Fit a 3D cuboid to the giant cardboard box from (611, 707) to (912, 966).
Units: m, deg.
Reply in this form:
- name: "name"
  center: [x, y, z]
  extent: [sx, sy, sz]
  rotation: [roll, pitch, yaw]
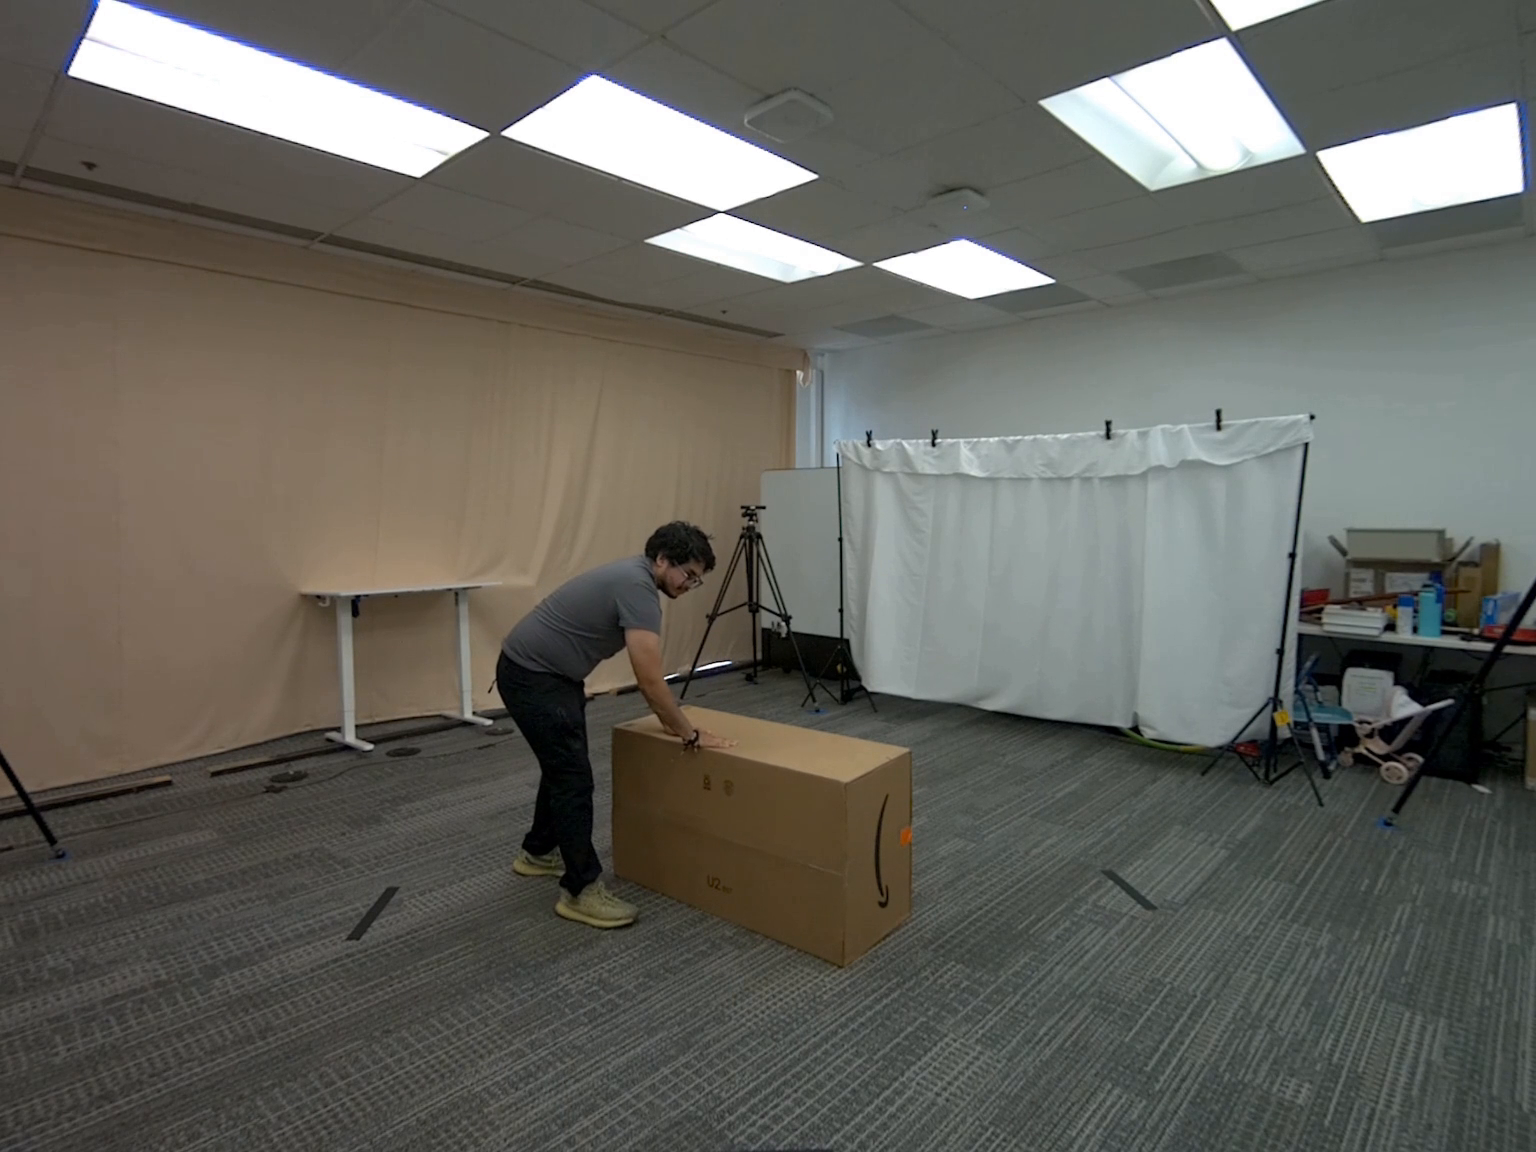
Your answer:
- name: "giant cardboard box"
  center: [-0.043, 0.855, 3.001]
  extent: [1.059, 0.576, 0.413]
  rotation: [3, 5, 39]
